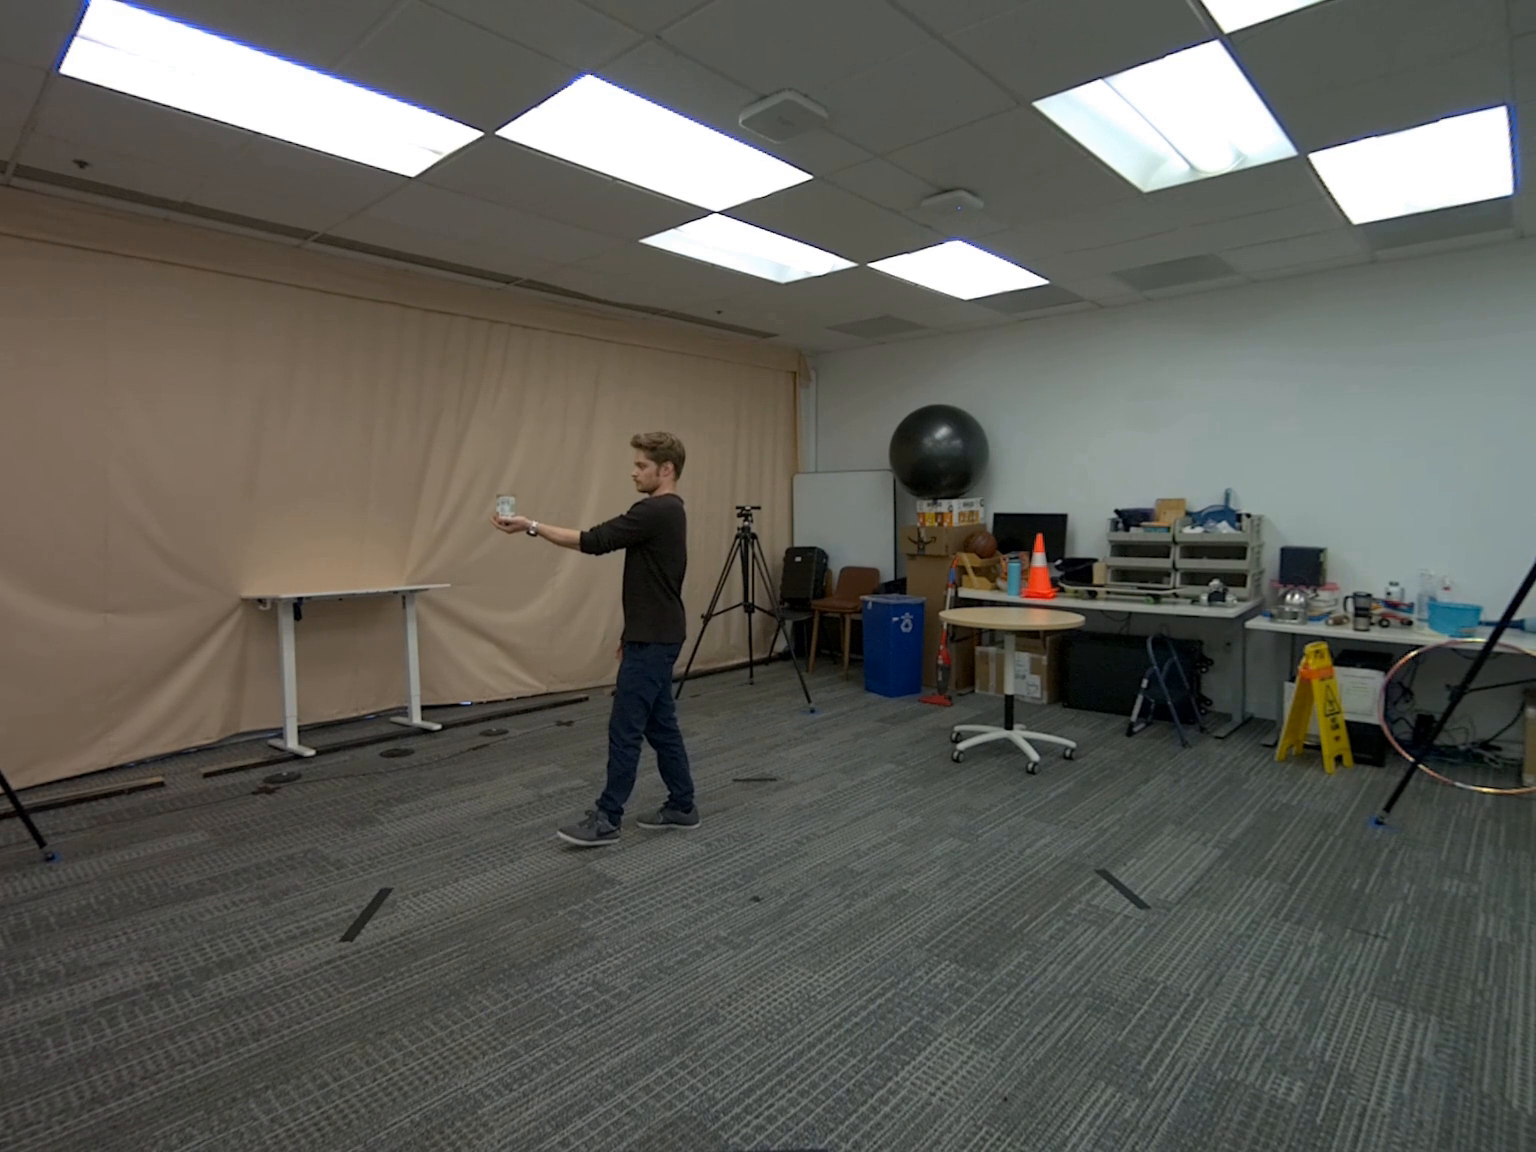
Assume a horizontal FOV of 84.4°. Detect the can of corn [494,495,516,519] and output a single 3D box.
[{"bbox_3d":[-1.058,-0.268,3.386,0.074,0.111,0.074,2,2,-2],"label":"can of corn"}]
